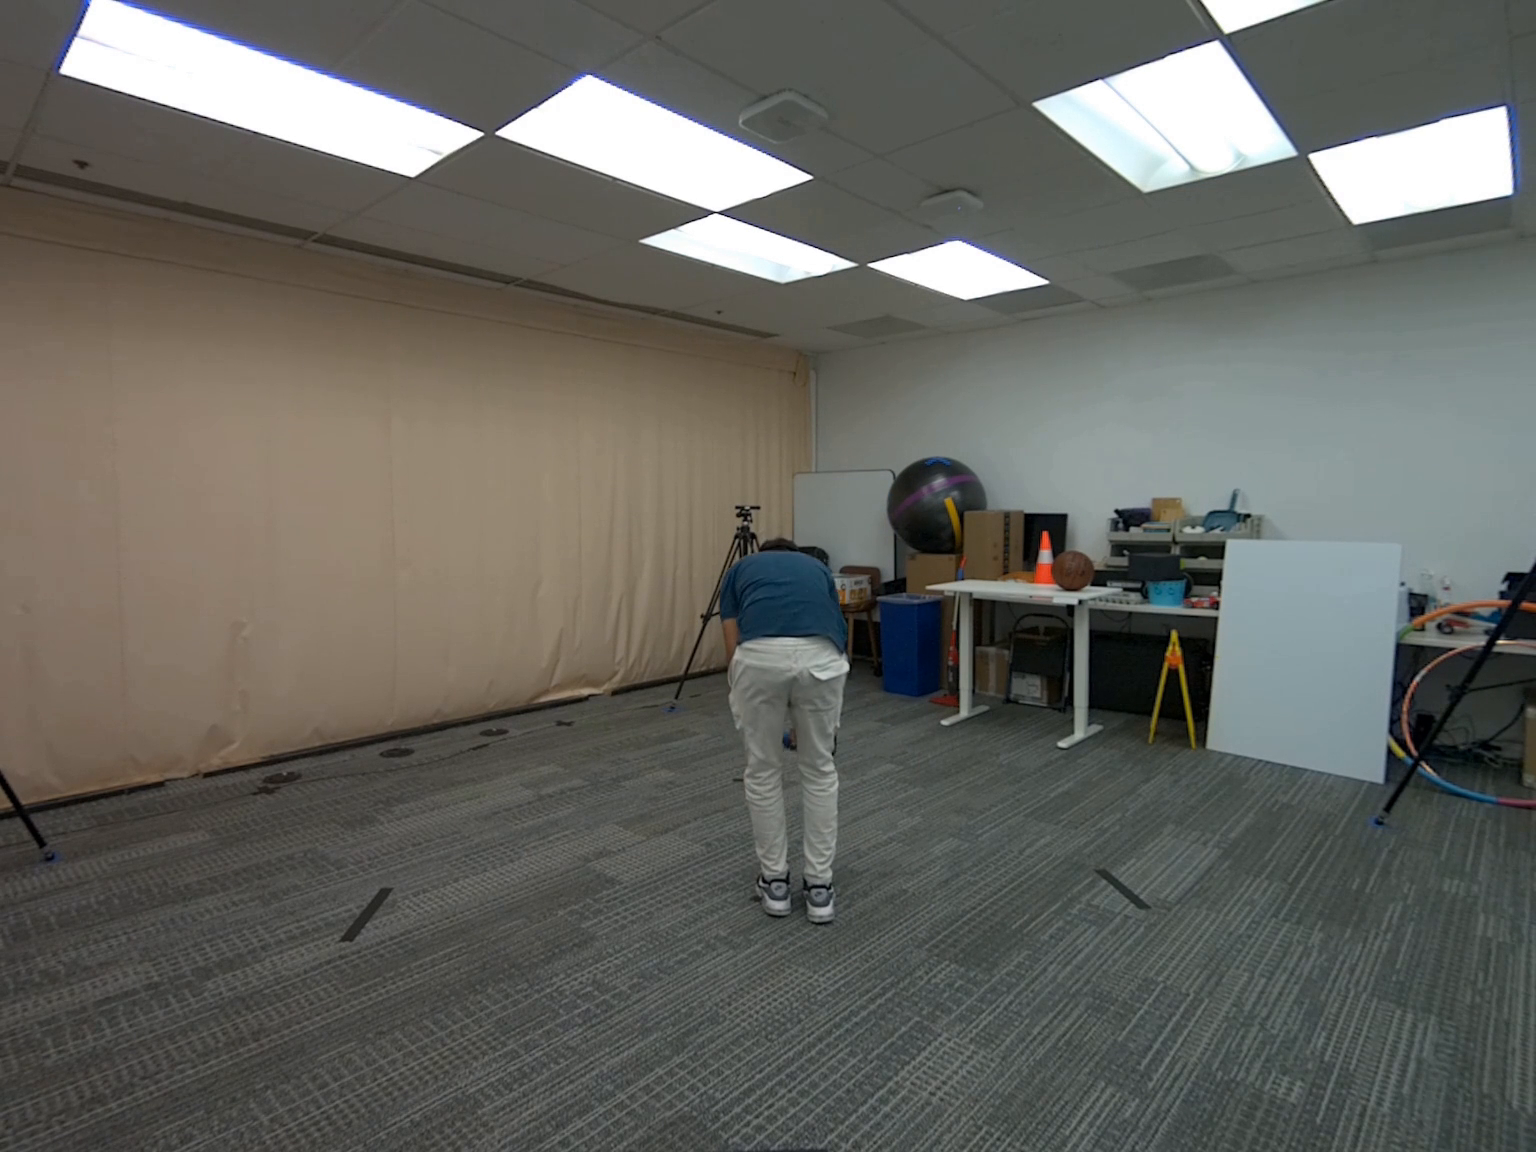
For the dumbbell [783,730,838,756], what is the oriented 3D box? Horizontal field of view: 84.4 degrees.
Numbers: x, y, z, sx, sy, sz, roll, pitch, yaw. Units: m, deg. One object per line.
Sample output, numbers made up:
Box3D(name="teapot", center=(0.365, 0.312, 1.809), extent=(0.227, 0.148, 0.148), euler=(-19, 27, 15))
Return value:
Box3D(name="dumbbell", center=(0.112, 0.619, 3.134), extent=(0.299, 0.124, 0.105), euler=(-1, -34, 17))
